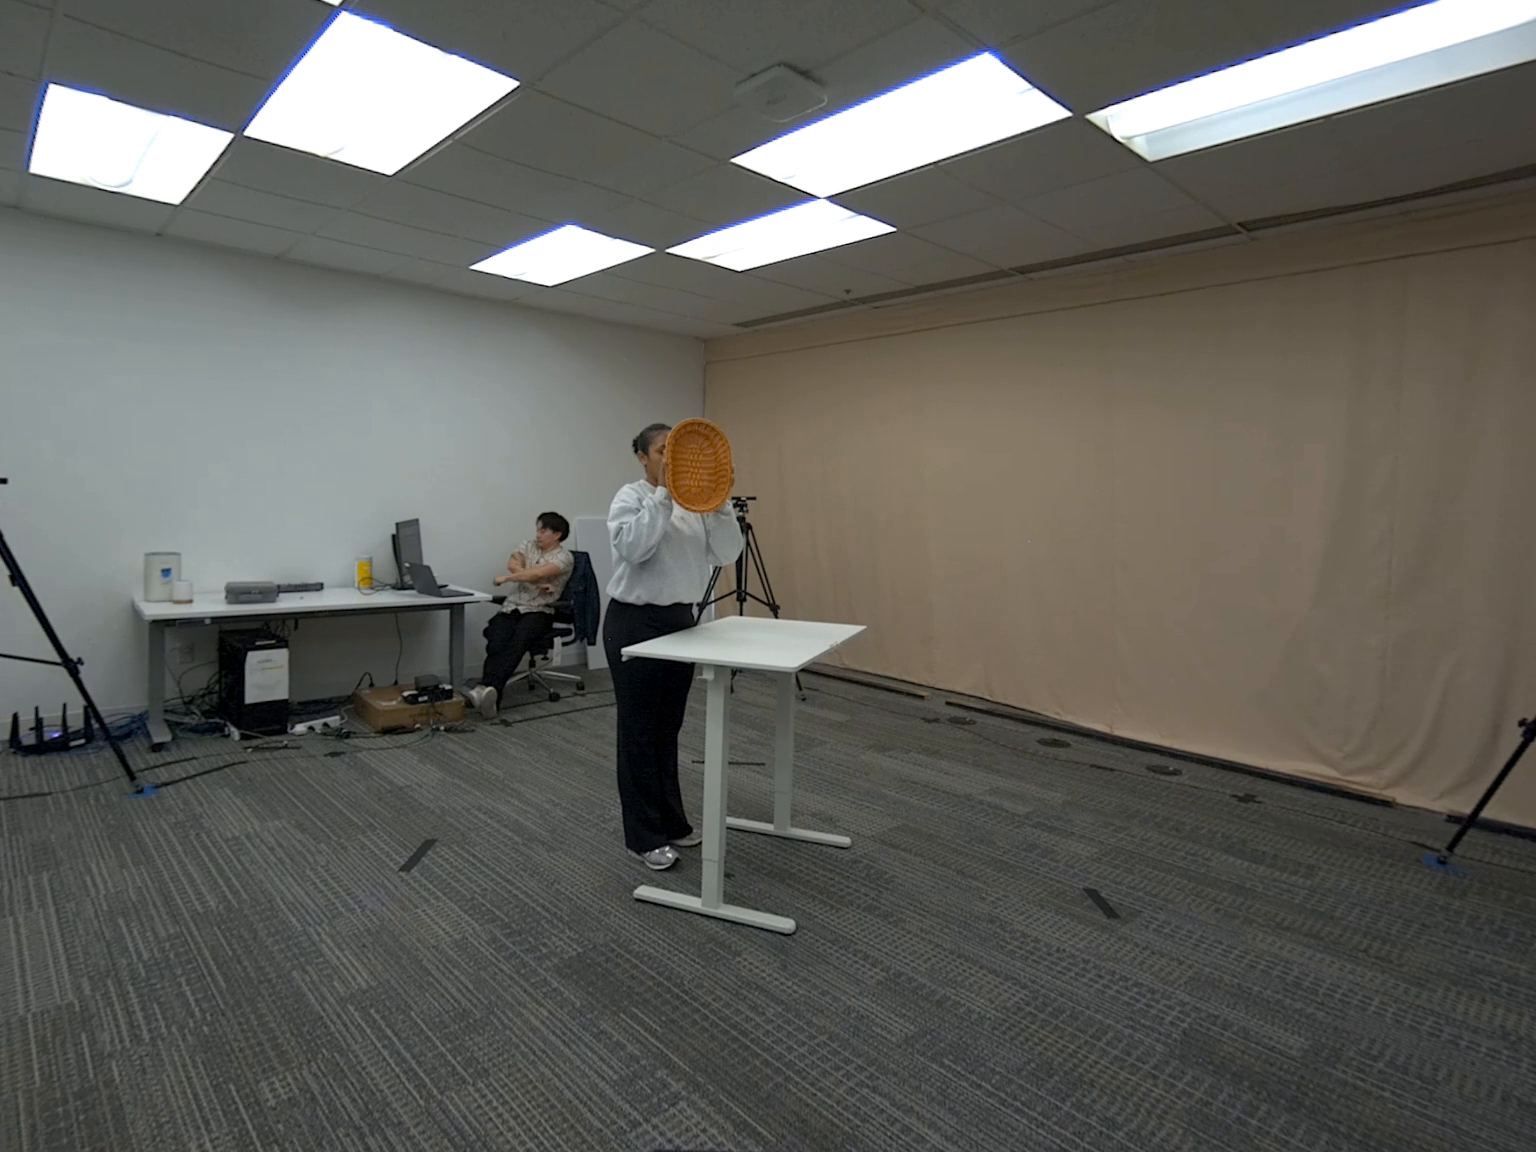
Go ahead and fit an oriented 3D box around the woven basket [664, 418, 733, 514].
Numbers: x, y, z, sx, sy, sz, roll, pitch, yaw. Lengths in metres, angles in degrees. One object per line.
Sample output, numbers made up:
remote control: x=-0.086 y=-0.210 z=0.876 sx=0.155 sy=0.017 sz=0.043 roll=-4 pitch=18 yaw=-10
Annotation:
woven basket: x=-0.266 y=-0.390 z=3.048 sx=0.248 sy=0.352 sz=0.074 roll=1 pitch=-5 yaw=-20
